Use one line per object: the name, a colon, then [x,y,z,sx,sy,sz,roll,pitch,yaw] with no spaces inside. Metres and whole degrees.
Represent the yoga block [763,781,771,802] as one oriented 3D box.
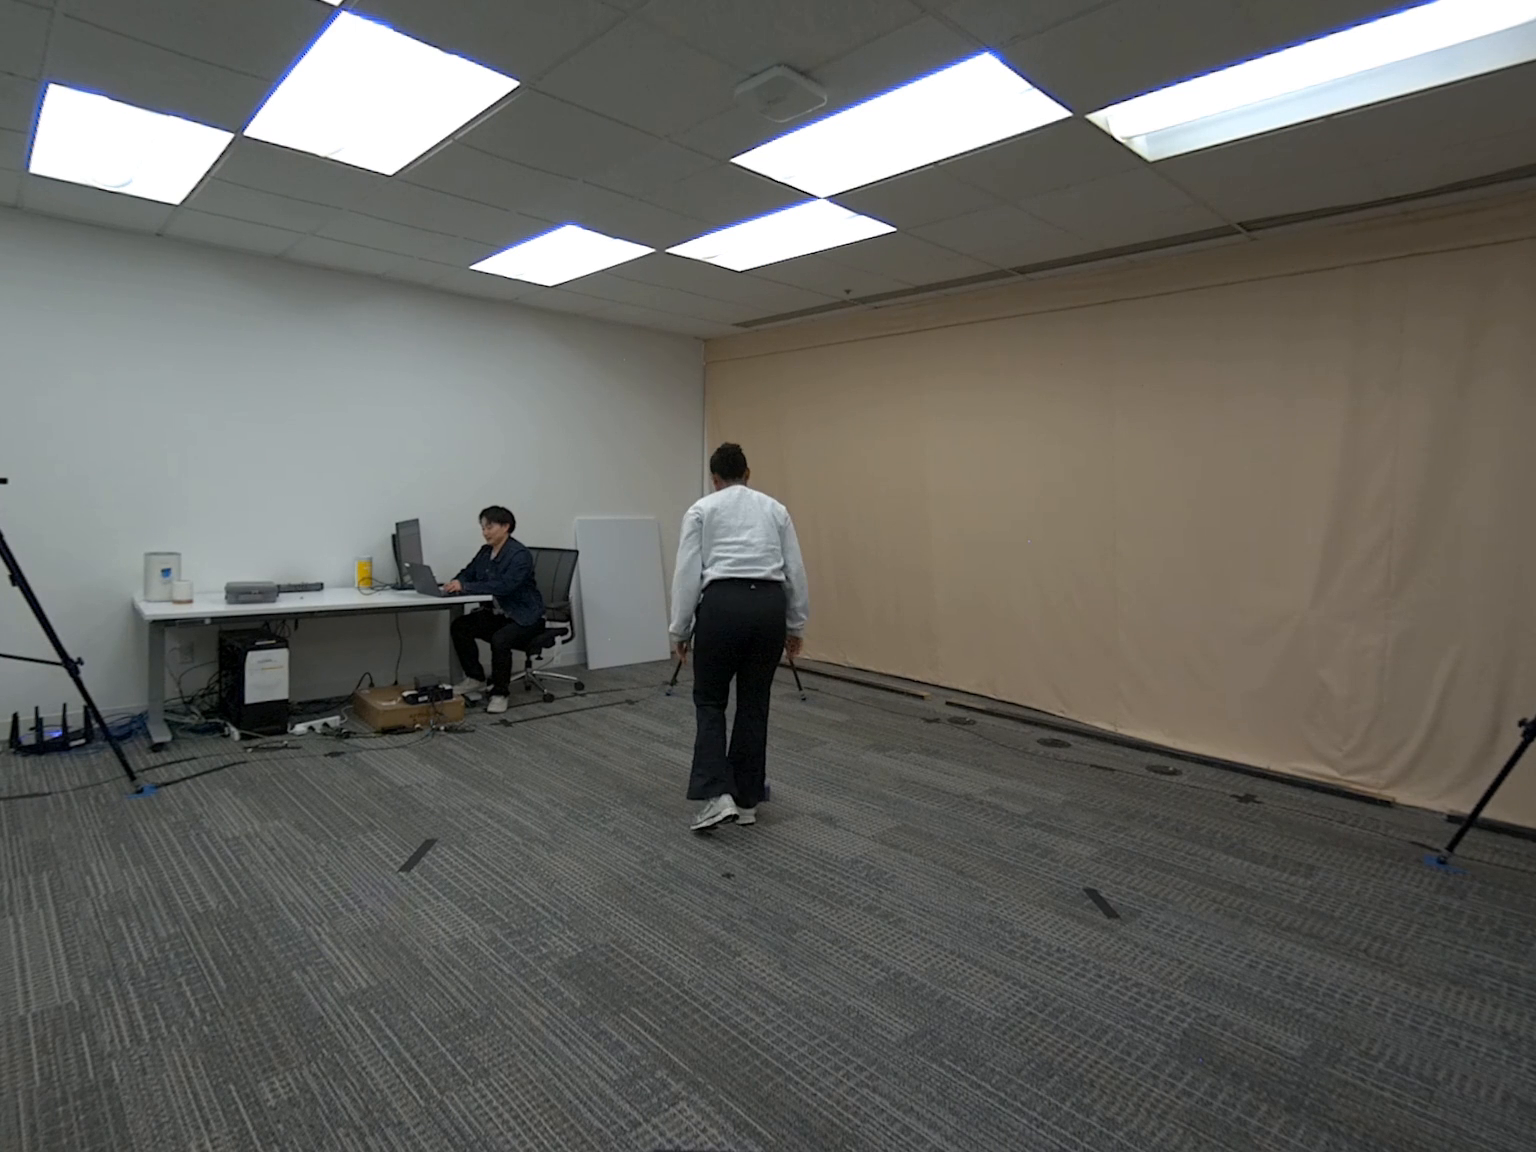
yoga block: [-0.122,0.998,3.946,0.228,0.076,0.150,0,6,-8]
